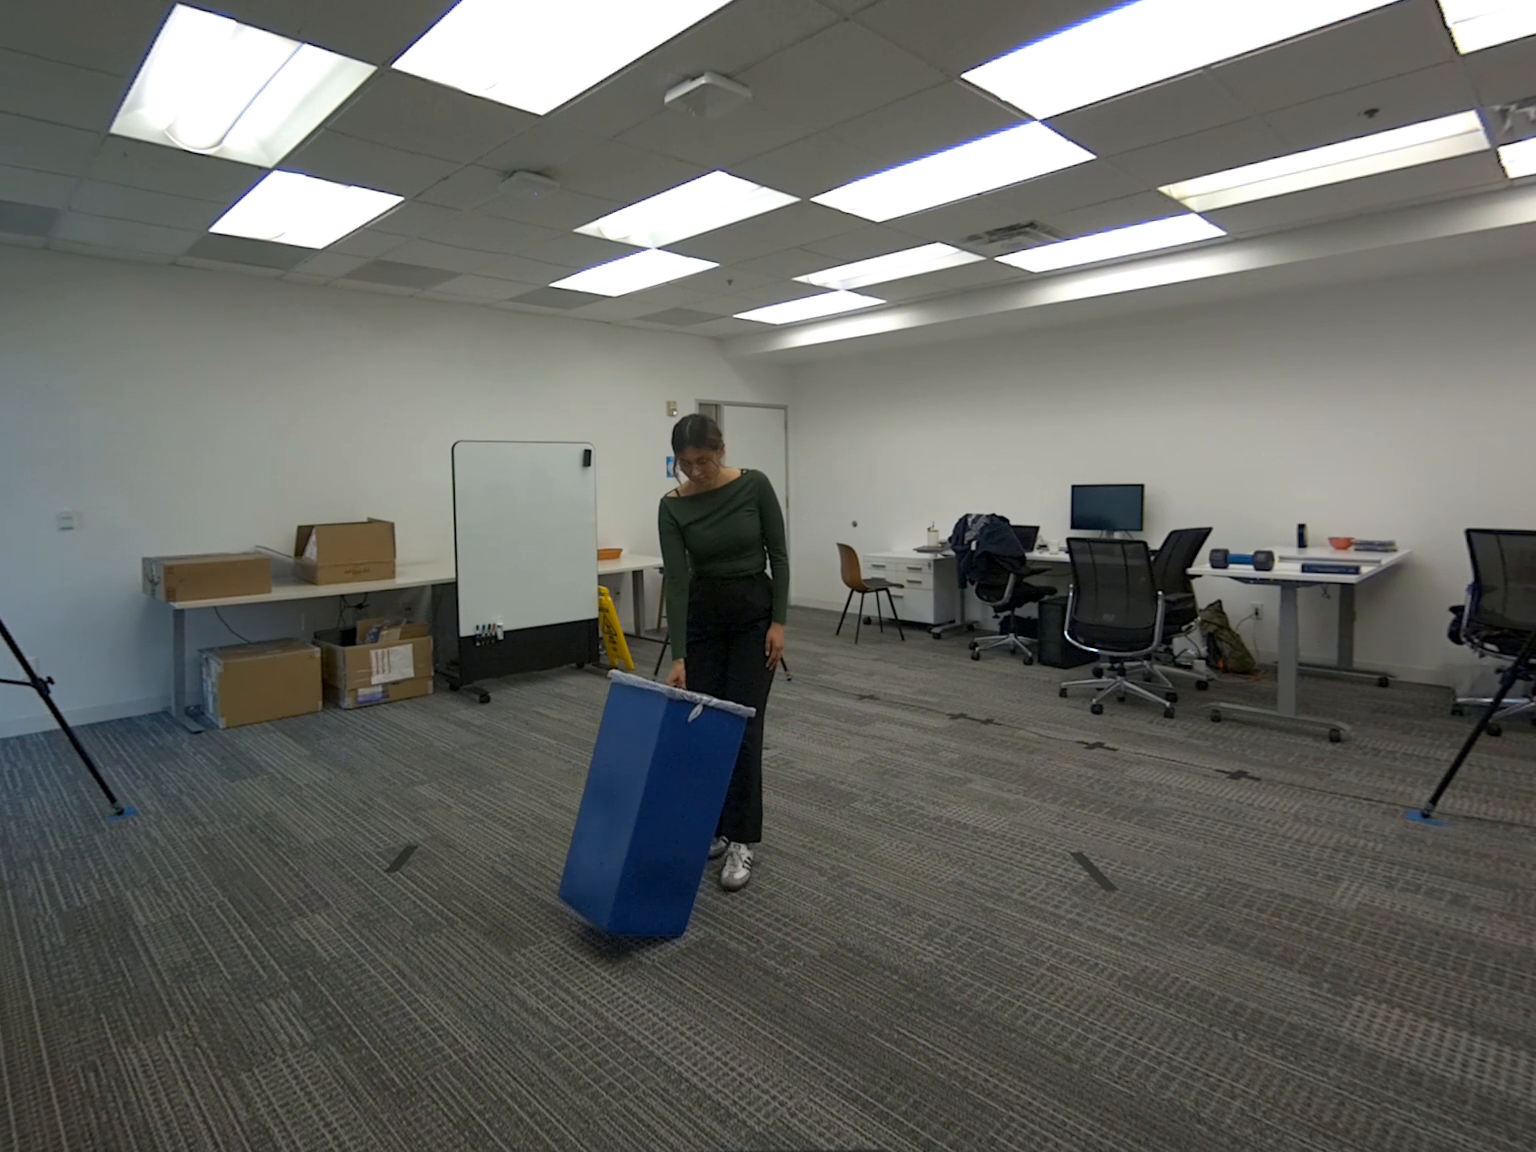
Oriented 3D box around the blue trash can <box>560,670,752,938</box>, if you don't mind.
[{"bbox_3d":[-0.369,0.711,2.693,0.360,0.718,0.390,24,-14,-41],"label":"blue trash can"}]
